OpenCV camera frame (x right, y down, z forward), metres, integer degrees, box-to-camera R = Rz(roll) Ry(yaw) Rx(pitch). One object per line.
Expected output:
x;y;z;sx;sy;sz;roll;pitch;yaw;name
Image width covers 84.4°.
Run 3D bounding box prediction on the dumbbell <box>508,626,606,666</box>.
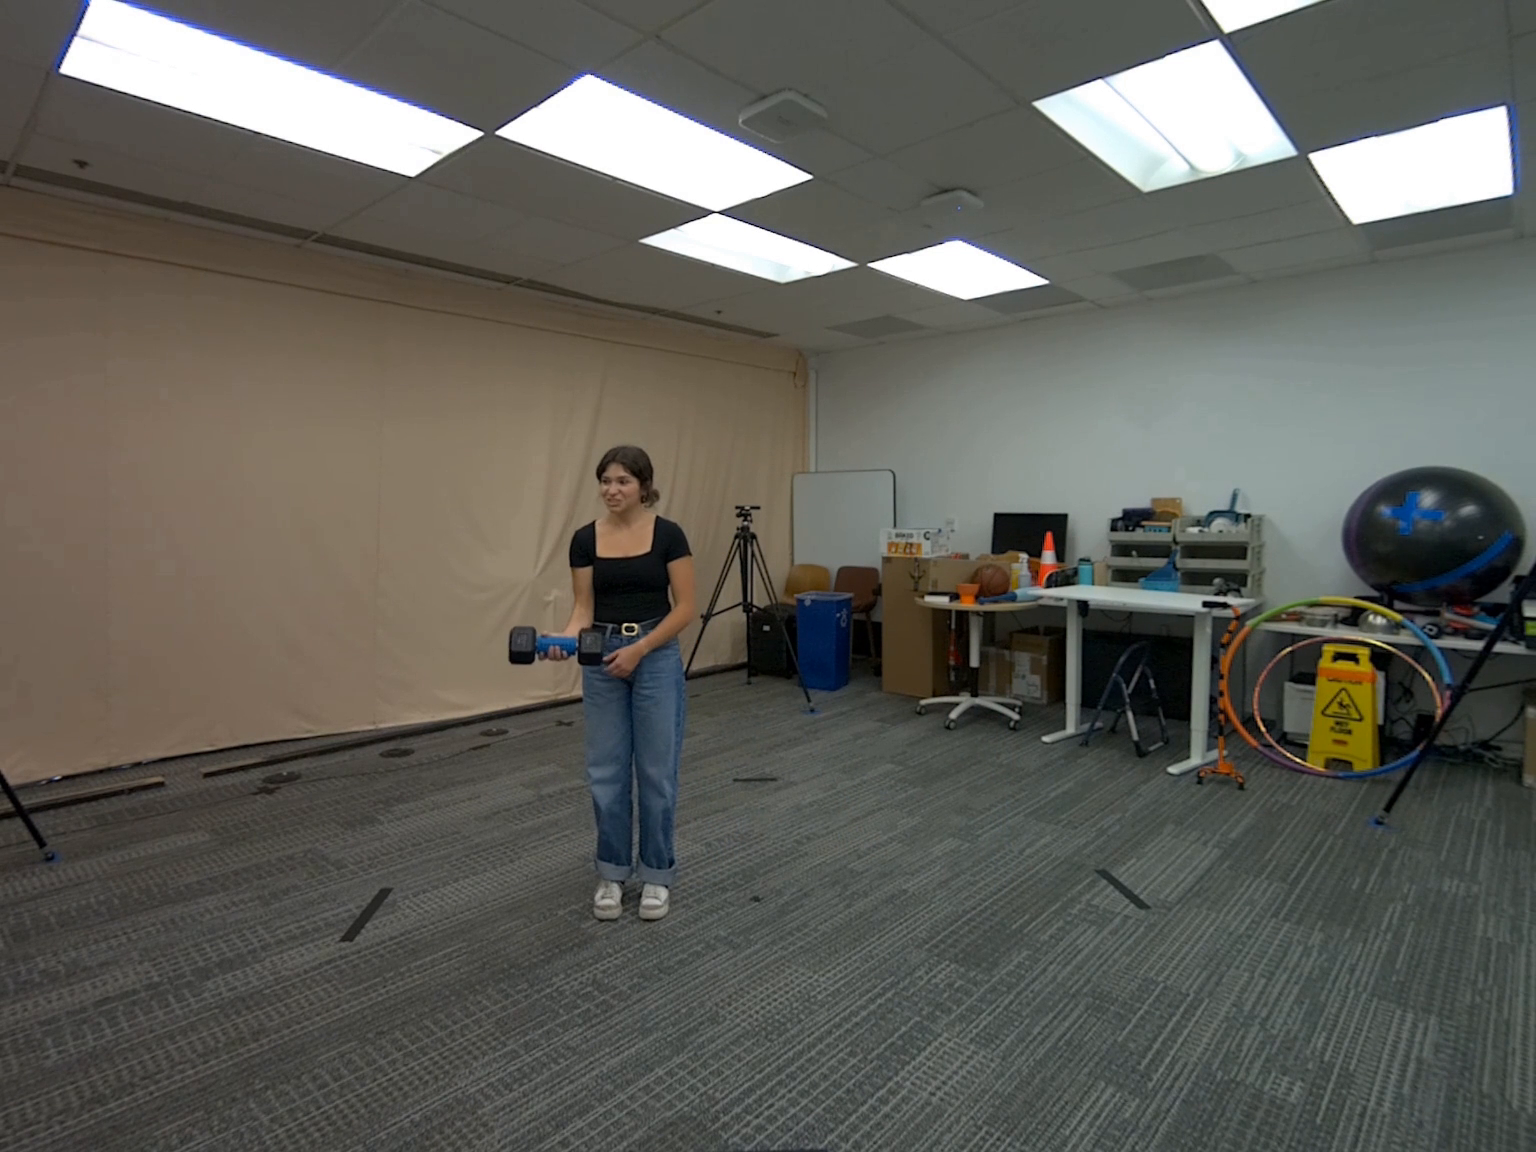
-0.672;0.214;2.655;0.290;0.108;0.125;2;10;-10;dumbbell
